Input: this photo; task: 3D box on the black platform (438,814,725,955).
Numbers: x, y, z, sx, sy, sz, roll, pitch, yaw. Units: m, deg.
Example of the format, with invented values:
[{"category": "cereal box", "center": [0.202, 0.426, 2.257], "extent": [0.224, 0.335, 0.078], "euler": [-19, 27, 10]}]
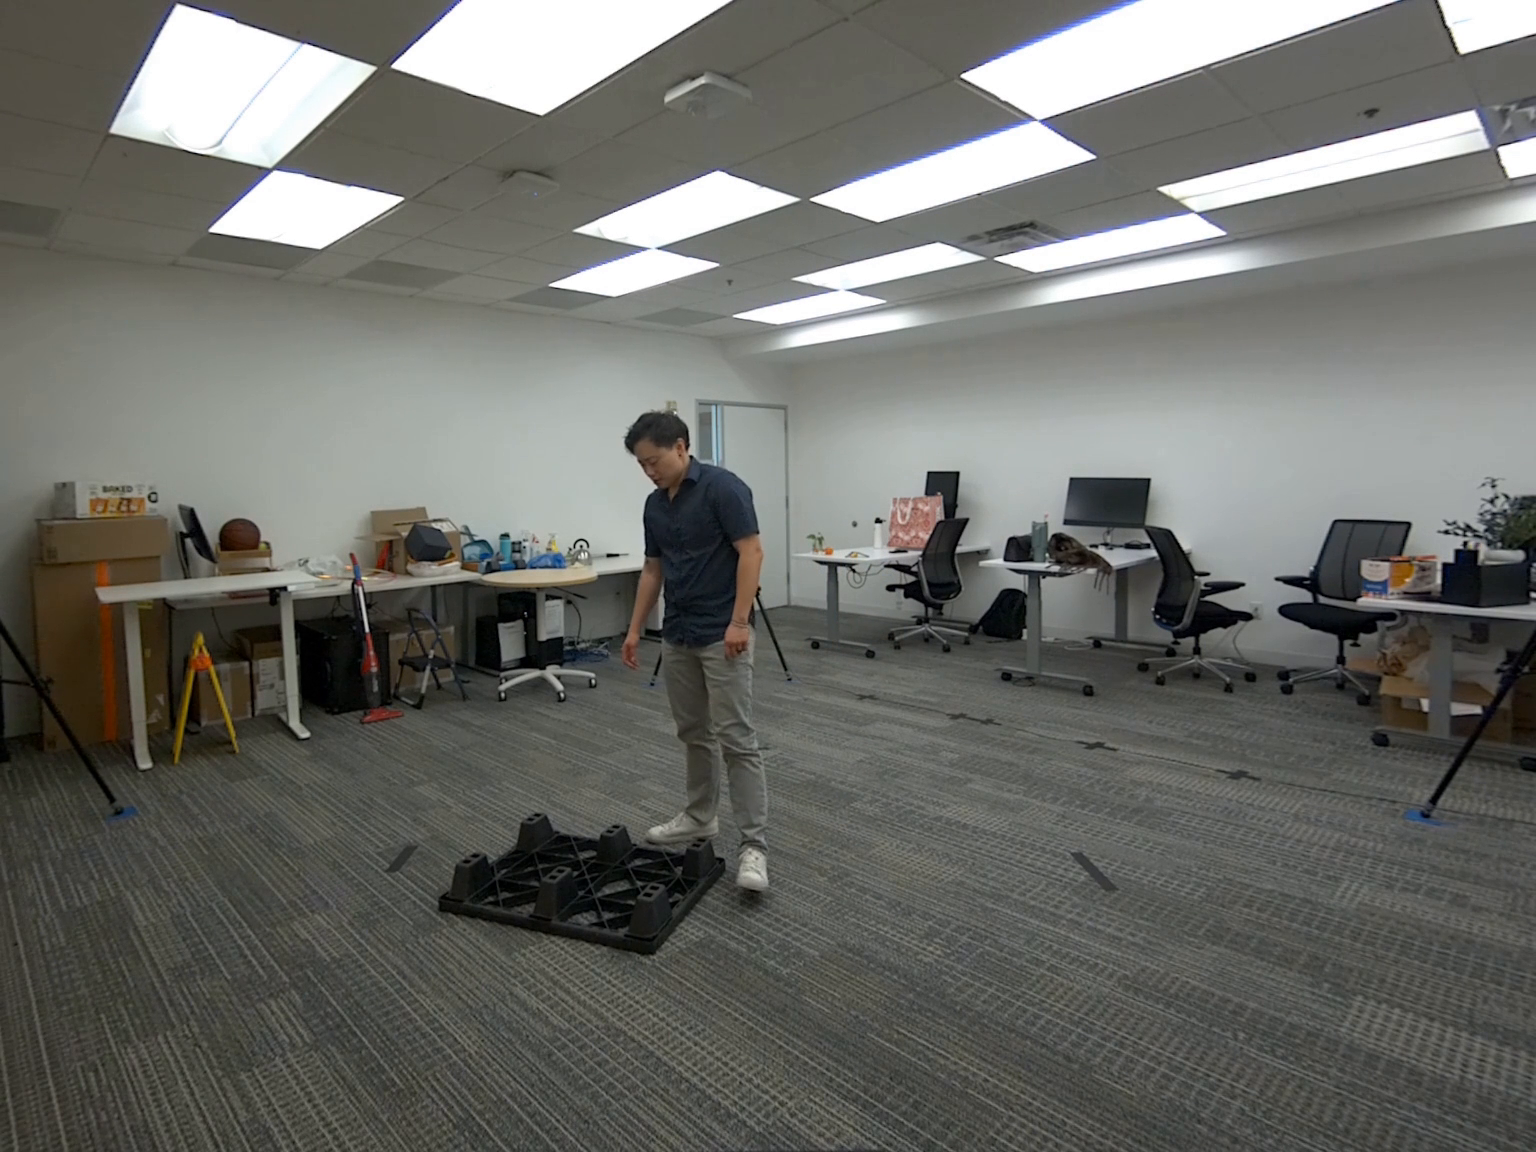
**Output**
[{"category": "black platform", "center": [-0.621, 1.011, 2.929], "extent": [0.822, 0.143, 0.596], "euler": [1, 6, 21]}]
